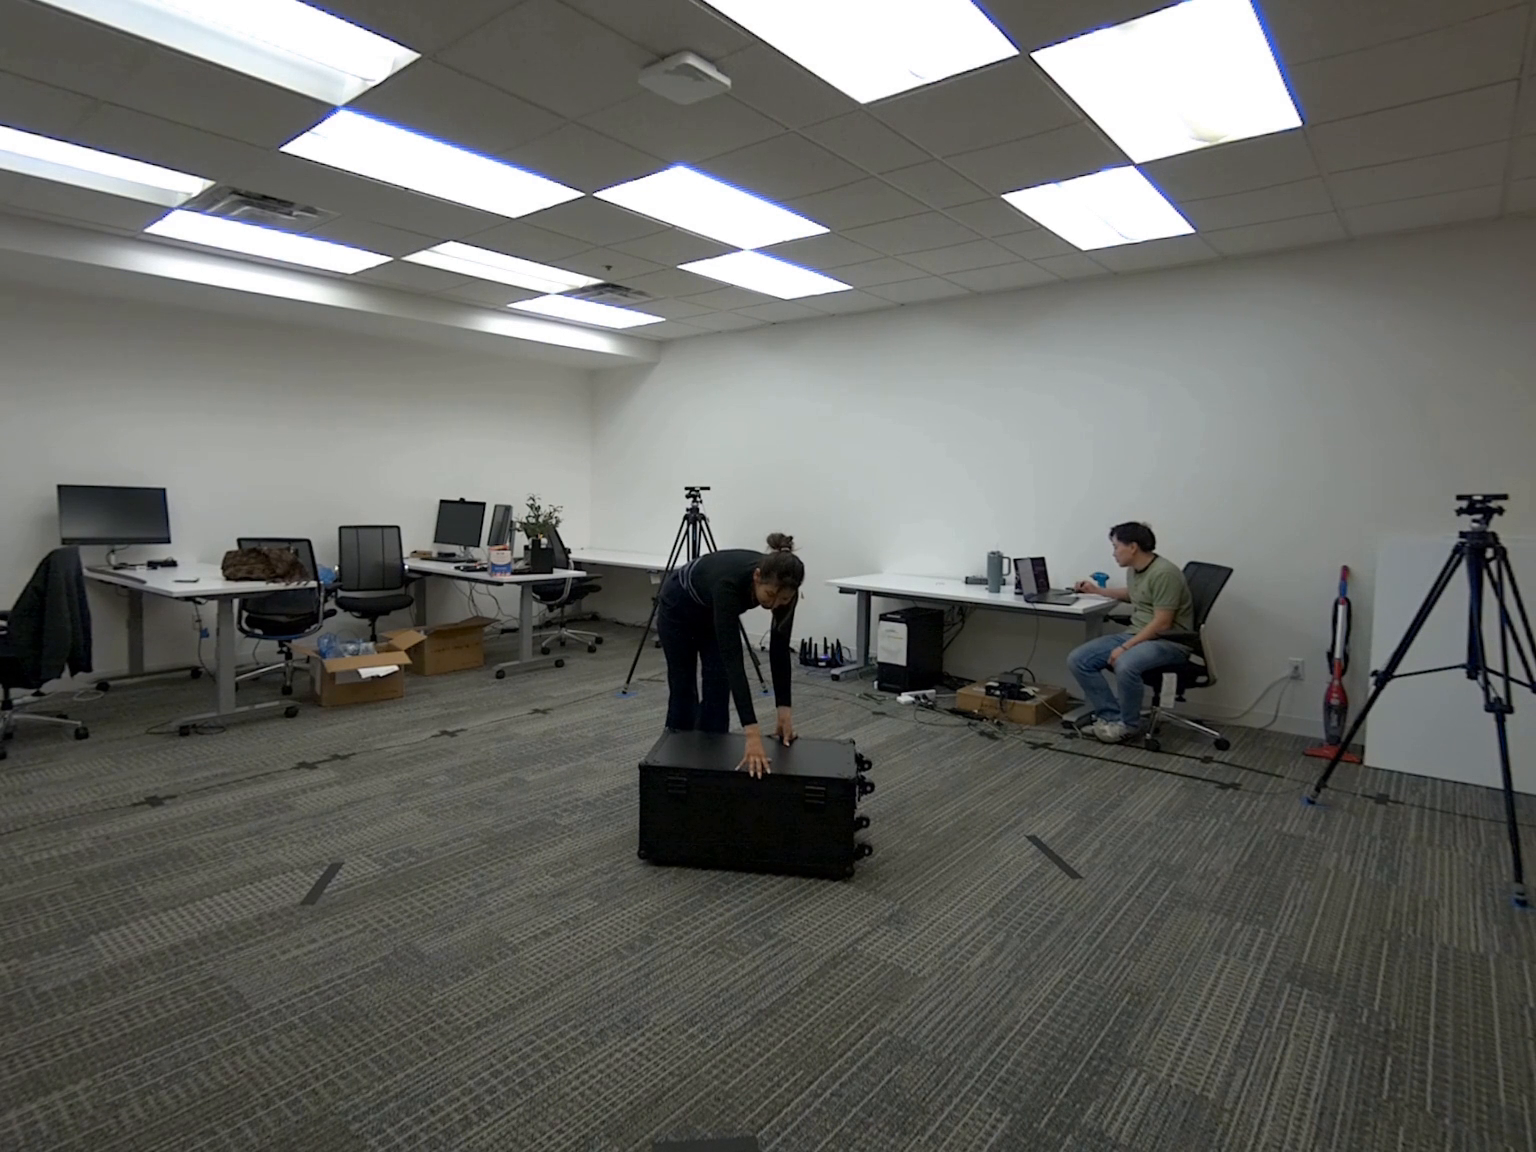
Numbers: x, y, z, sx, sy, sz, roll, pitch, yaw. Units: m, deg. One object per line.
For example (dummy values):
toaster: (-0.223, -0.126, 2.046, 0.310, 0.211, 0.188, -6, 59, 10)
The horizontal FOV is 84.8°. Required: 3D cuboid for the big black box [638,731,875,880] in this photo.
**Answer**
big black box: (-0.036, 0.861, 3.277, 0.869, 0.395, 0.519, 1, 4, 7)
